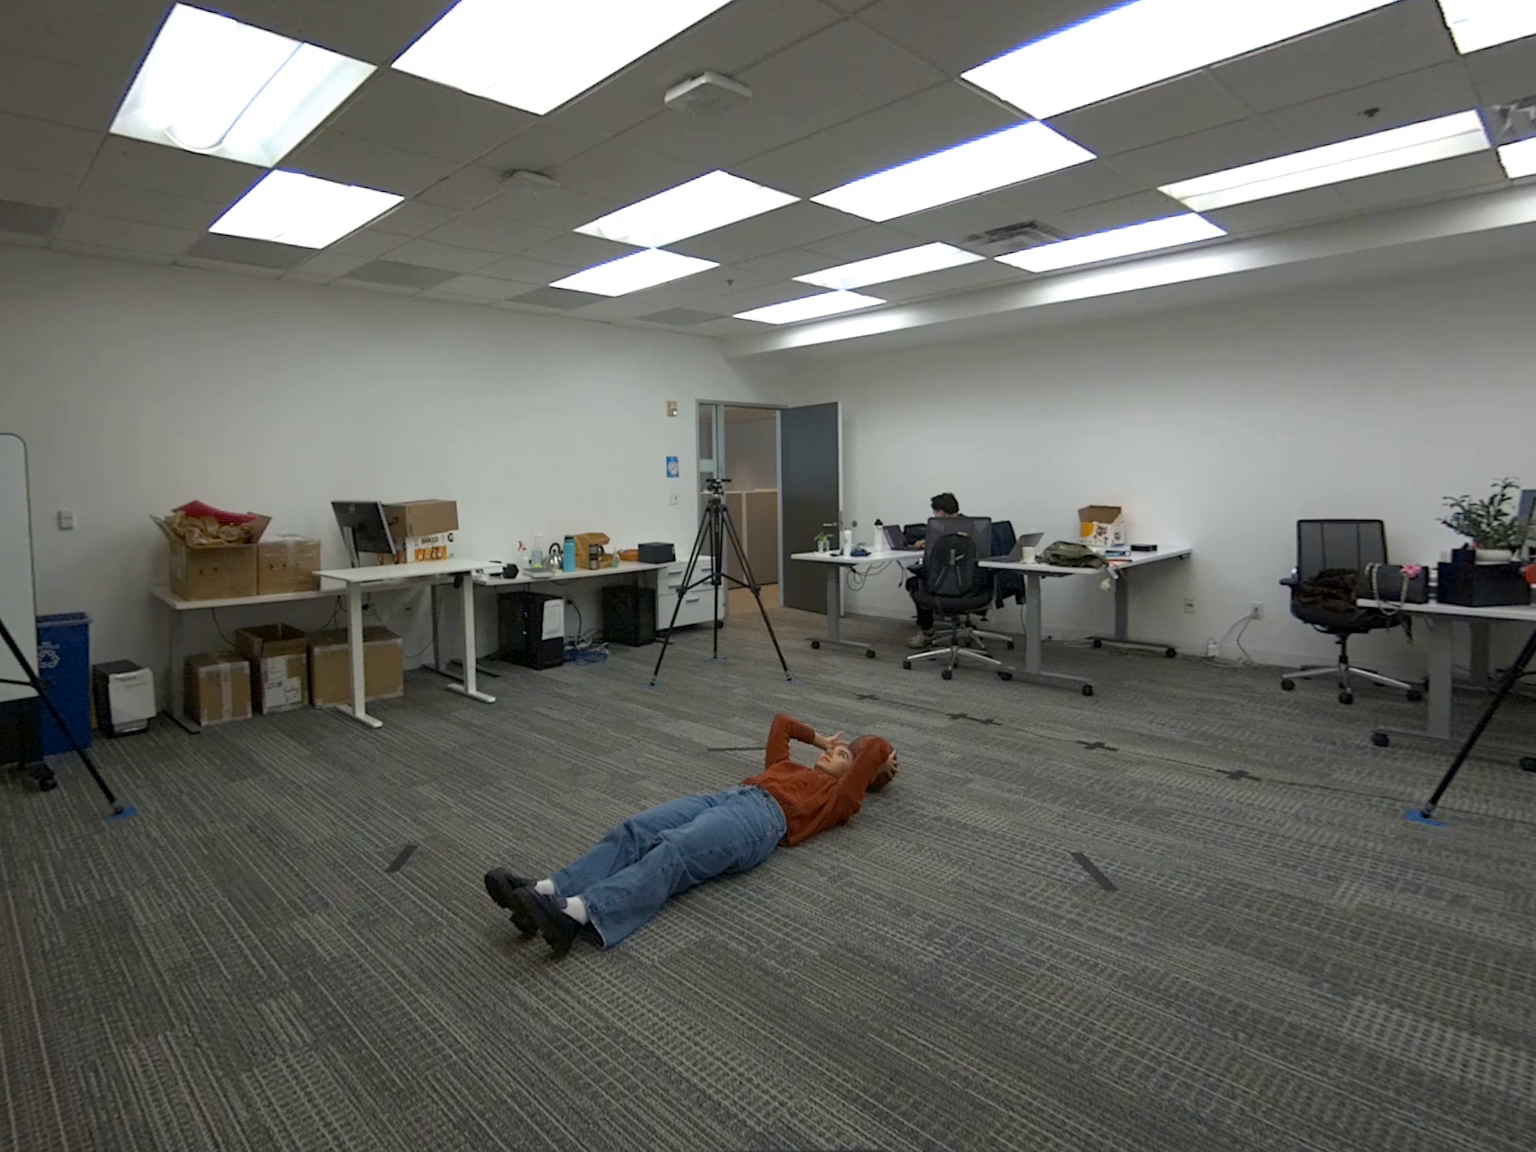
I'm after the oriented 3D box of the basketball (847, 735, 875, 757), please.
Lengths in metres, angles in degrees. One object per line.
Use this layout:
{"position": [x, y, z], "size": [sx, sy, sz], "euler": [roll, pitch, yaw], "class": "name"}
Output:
{"position": [0.470, 0.837, 3.840], "size": [0.236, 0.236, 0.236], "euler": [0, 1, -2], "class": "basketball"}
